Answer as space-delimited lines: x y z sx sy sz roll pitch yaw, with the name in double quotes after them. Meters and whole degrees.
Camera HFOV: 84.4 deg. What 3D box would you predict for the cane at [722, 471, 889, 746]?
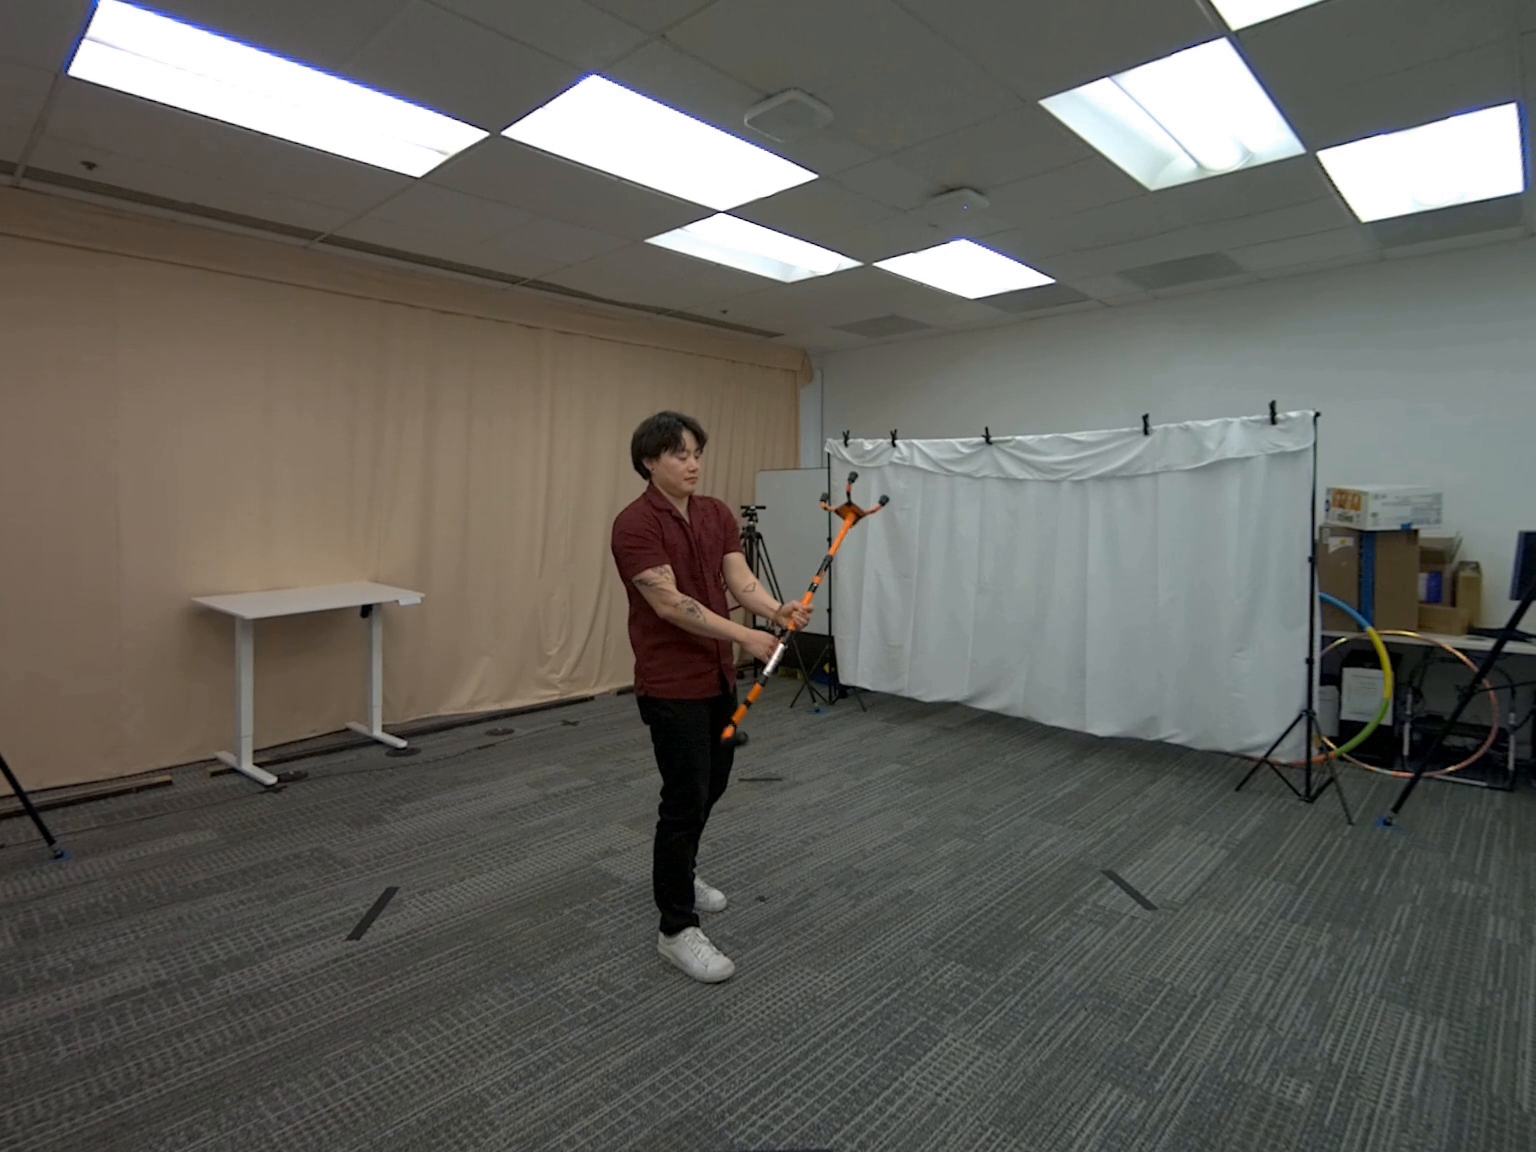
0.083 0.097 2.437 0.150 0.908 0.209 35 -28 -10 "cane"
